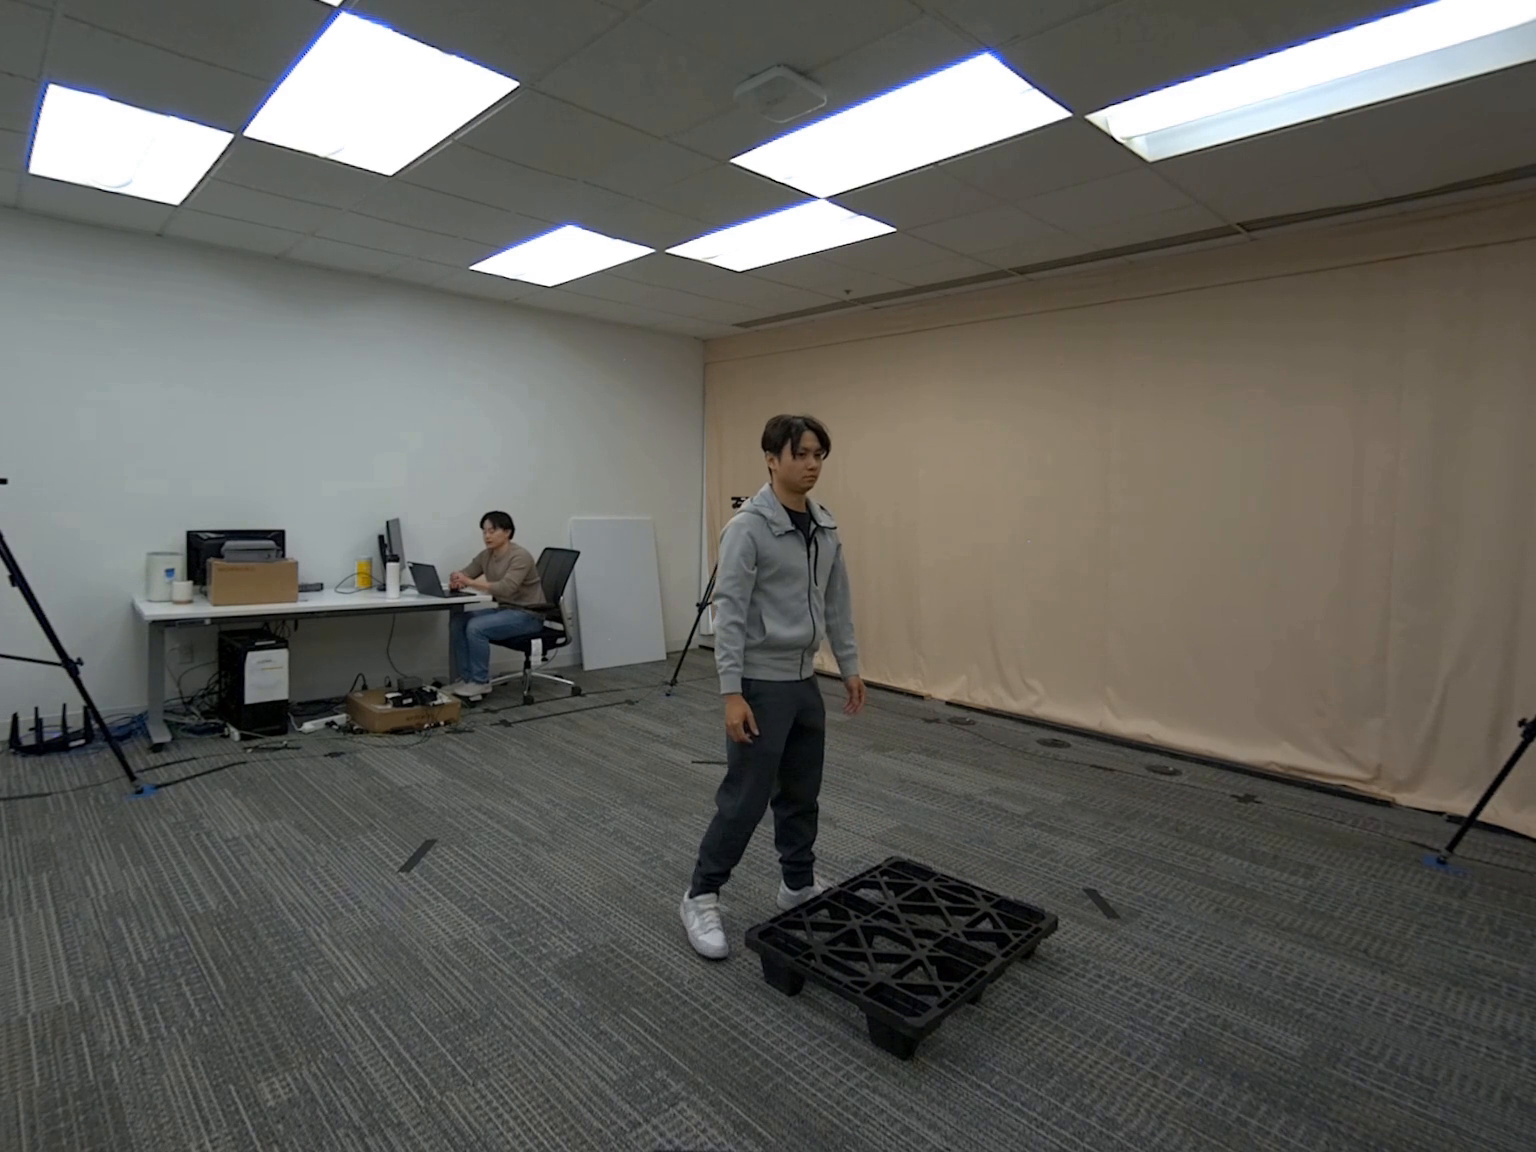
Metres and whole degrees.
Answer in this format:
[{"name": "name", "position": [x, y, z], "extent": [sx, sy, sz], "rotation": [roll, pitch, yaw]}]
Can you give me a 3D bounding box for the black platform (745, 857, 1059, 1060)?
[{"name": "black platform", "position": [0.398, 1.108, 2.519], "extent": [0.621, 0.143, 0.787], "rotation": [6, 7, 43]}]
